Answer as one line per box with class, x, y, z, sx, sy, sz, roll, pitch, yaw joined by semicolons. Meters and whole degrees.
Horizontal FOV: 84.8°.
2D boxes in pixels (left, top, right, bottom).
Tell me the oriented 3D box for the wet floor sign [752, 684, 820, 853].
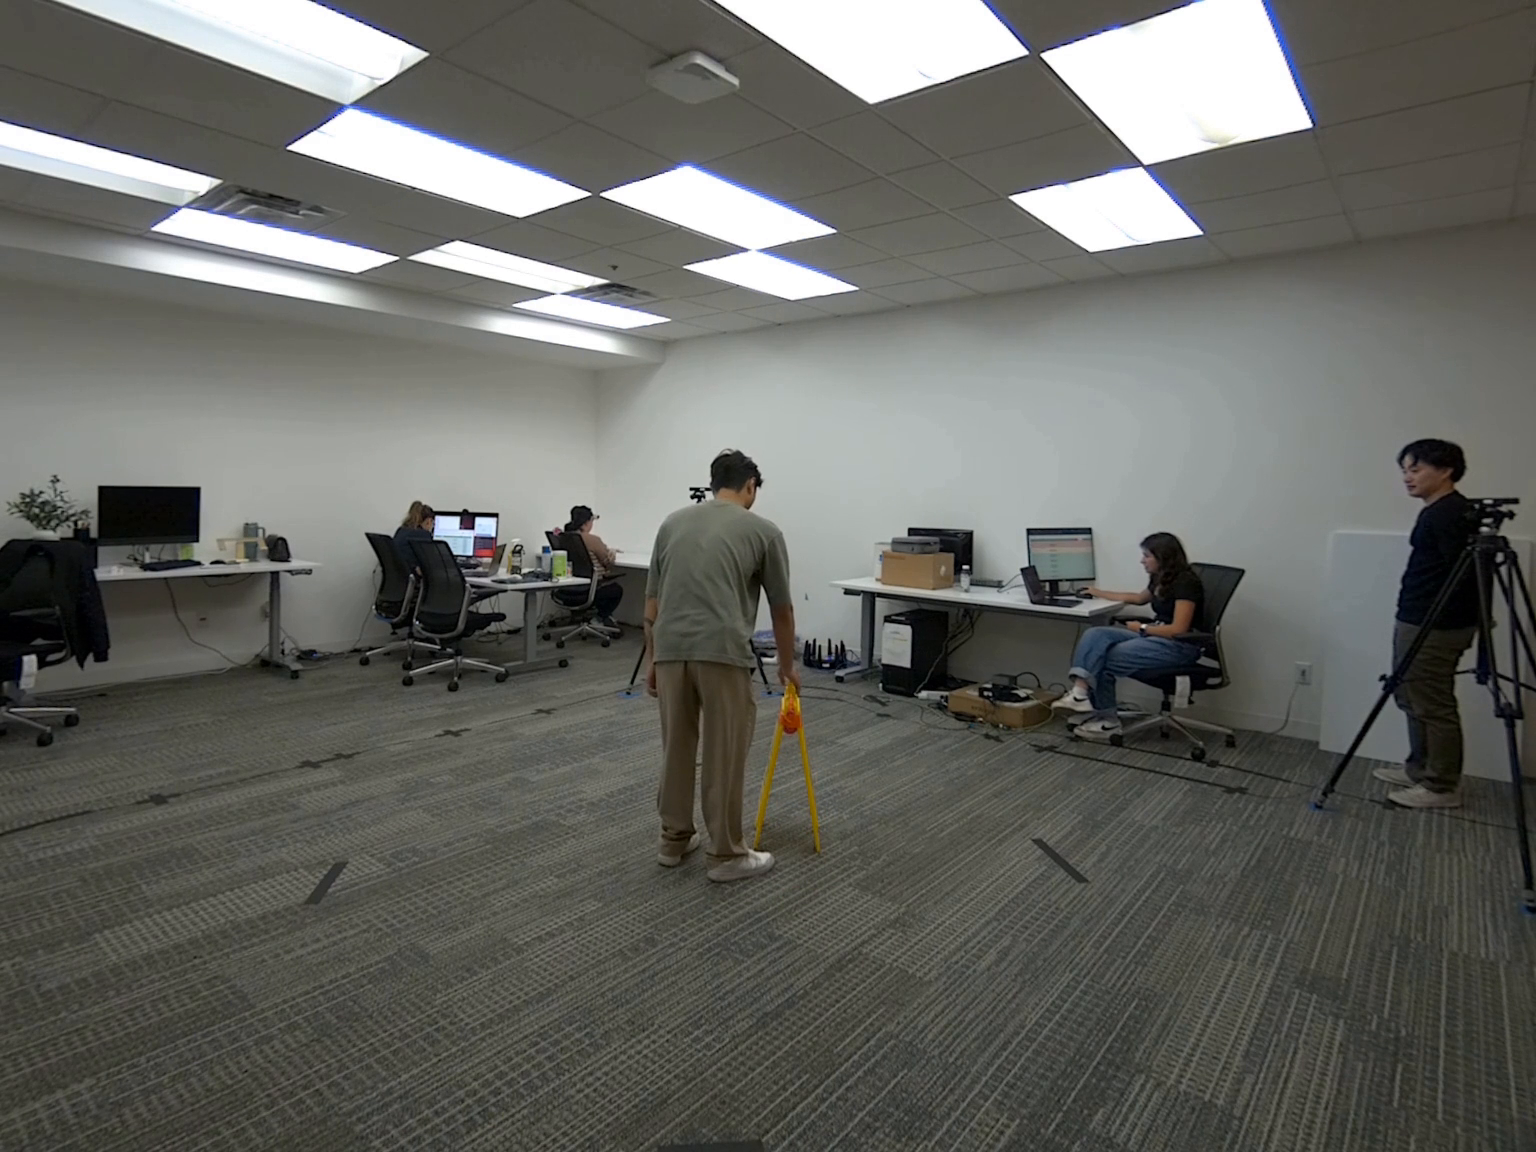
wet floor sign;0.073;0.730;3.409;0.291;0.646;0.281;1;1;2
